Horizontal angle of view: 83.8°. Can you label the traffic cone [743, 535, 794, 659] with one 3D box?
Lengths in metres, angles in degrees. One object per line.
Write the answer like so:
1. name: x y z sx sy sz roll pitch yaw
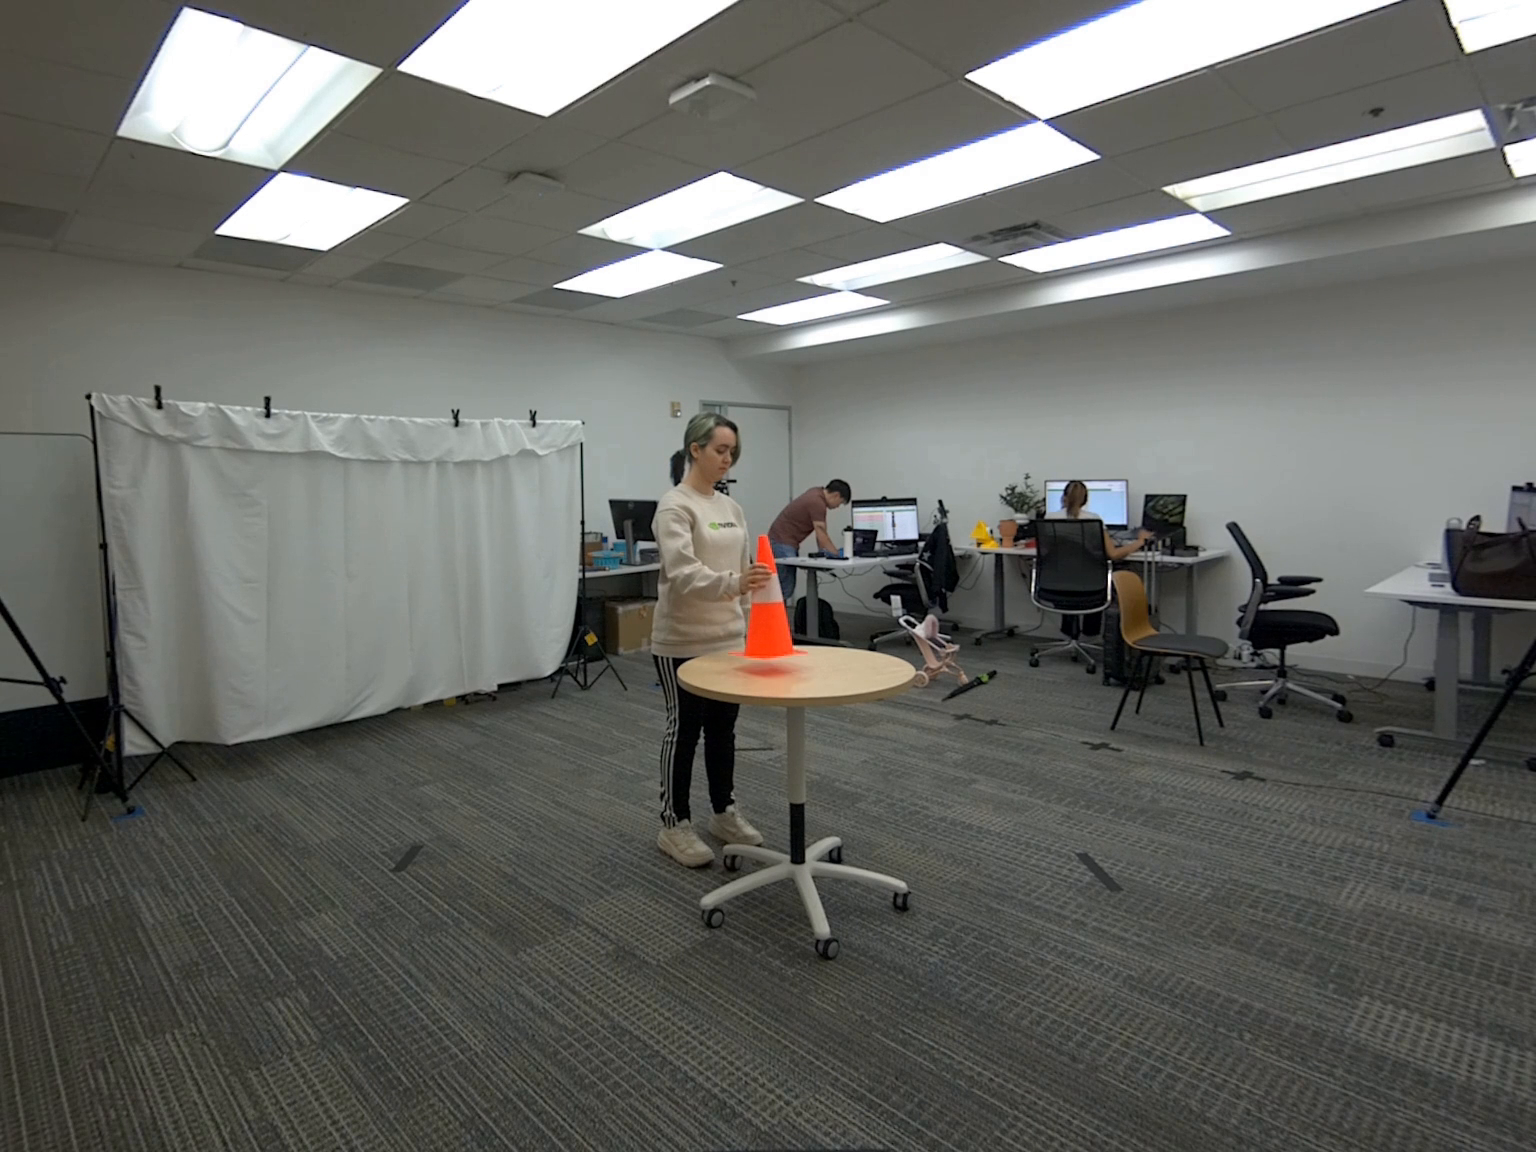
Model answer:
1. traffic cone: -0.005 0.061 2.735 0.209 0.382 0.200 0 5 37
